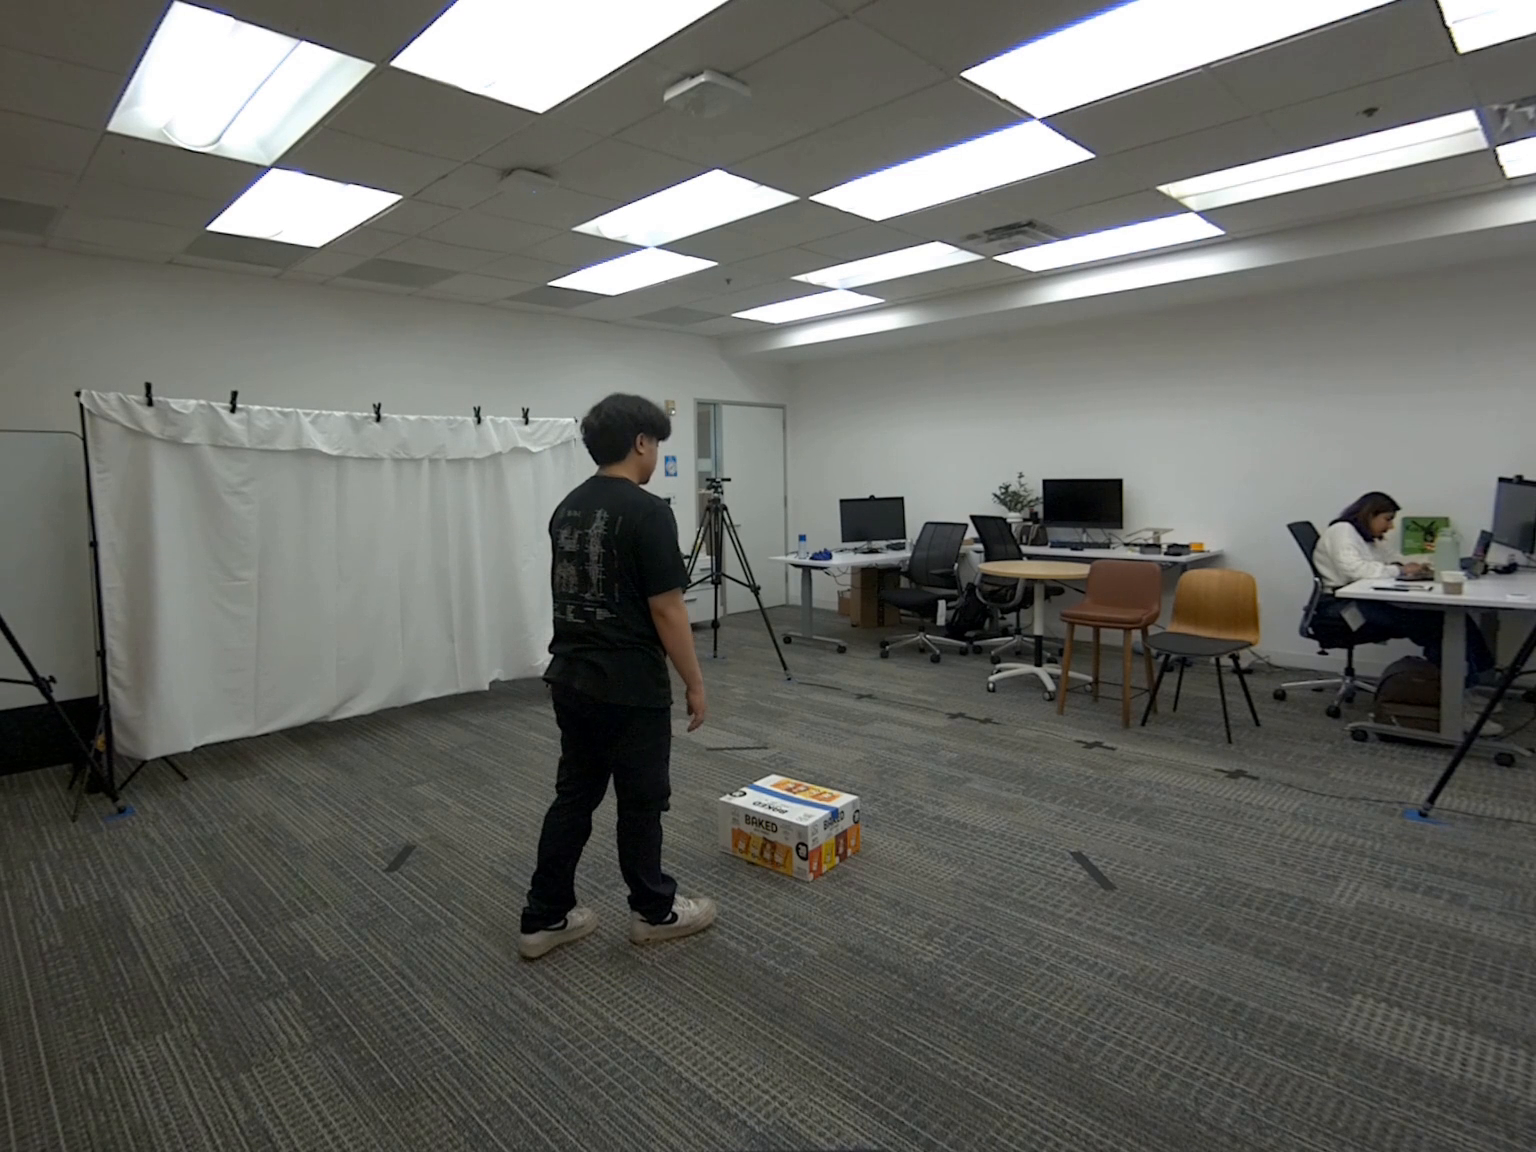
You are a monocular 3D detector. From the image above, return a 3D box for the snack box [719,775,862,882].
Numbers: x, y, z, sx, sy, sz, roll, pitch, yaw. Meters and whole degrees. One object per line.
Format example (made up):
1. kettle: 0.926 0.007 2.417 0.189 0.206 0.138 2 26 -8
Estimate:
1. snack box: 0.080 0.928 3.191 0.417 0.205 0.332 4 7 38
